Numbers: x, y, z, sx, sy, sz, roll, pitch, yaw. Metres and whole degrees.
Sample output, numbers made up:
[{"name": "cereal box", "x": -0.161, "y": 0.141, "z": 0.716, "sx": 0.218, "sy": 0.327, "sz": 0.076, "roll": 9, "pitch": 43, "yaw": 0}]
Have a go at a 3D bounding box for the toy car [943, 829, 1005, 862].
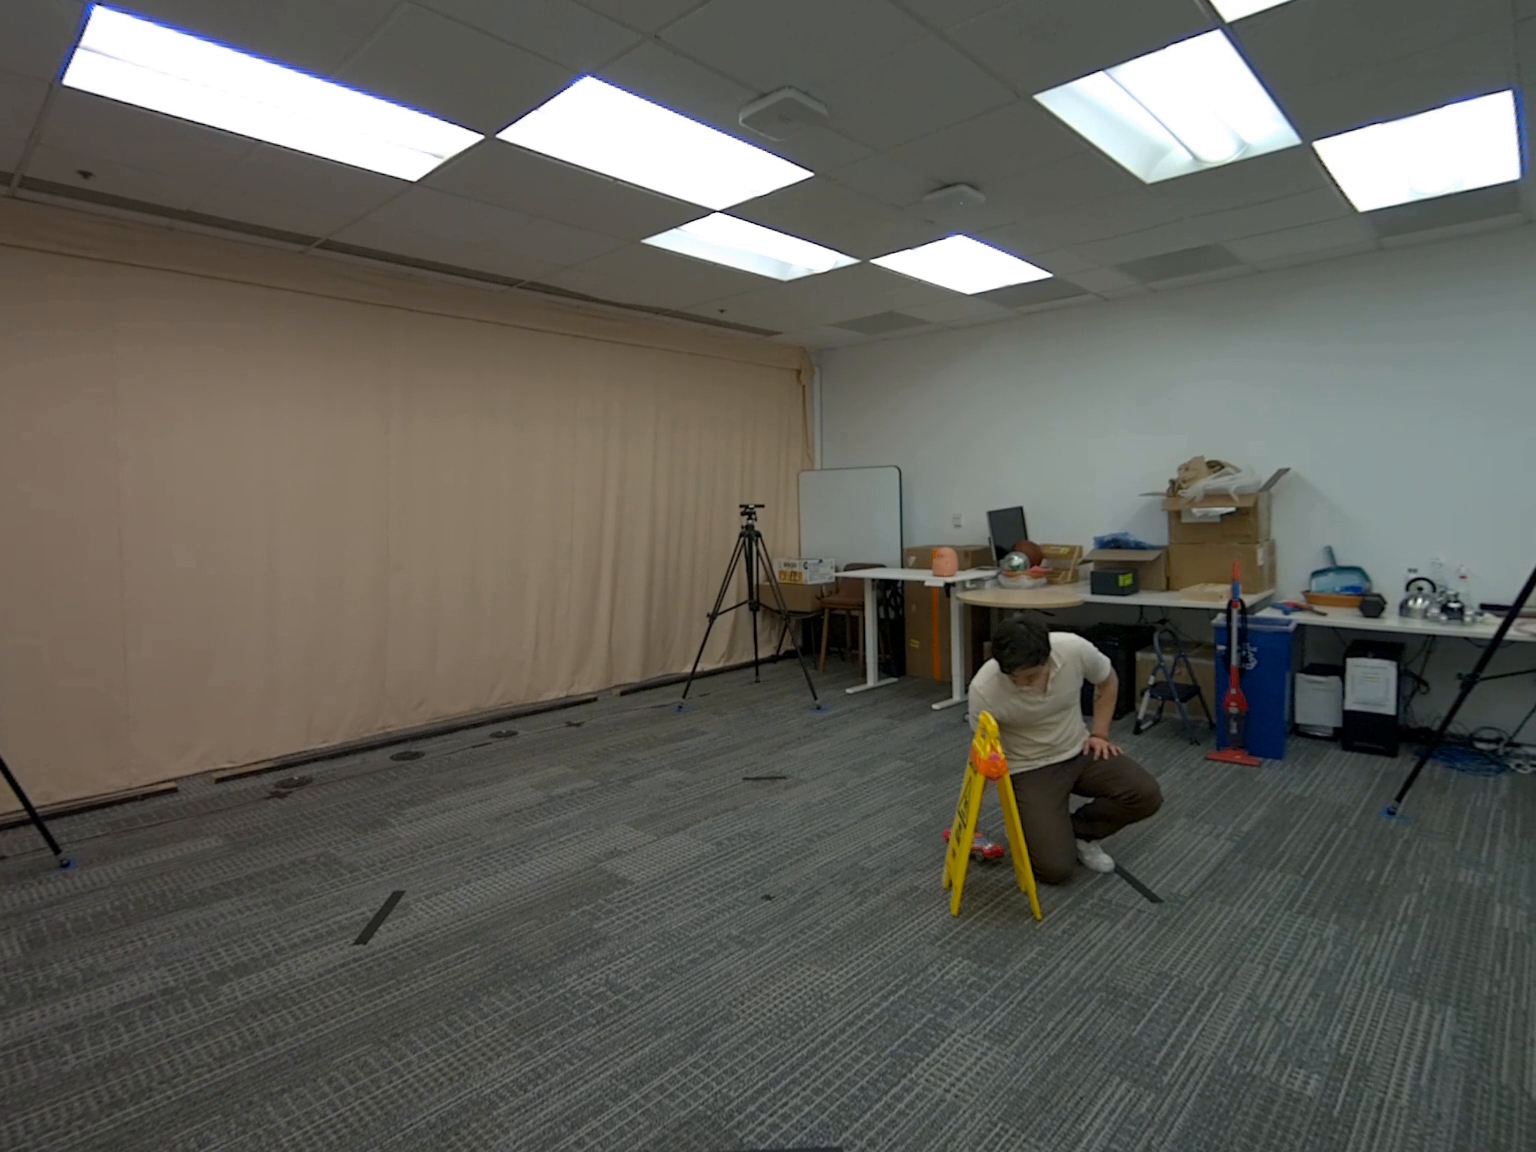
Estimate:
[{"name": "toy car", "x": 0.811, "y": 1.065, "z": 3.300, "sx": 0.126, "sy": 0.083, "sz": 0.262, "roll": 4, "pitch": 5, "yaw": -32}]
